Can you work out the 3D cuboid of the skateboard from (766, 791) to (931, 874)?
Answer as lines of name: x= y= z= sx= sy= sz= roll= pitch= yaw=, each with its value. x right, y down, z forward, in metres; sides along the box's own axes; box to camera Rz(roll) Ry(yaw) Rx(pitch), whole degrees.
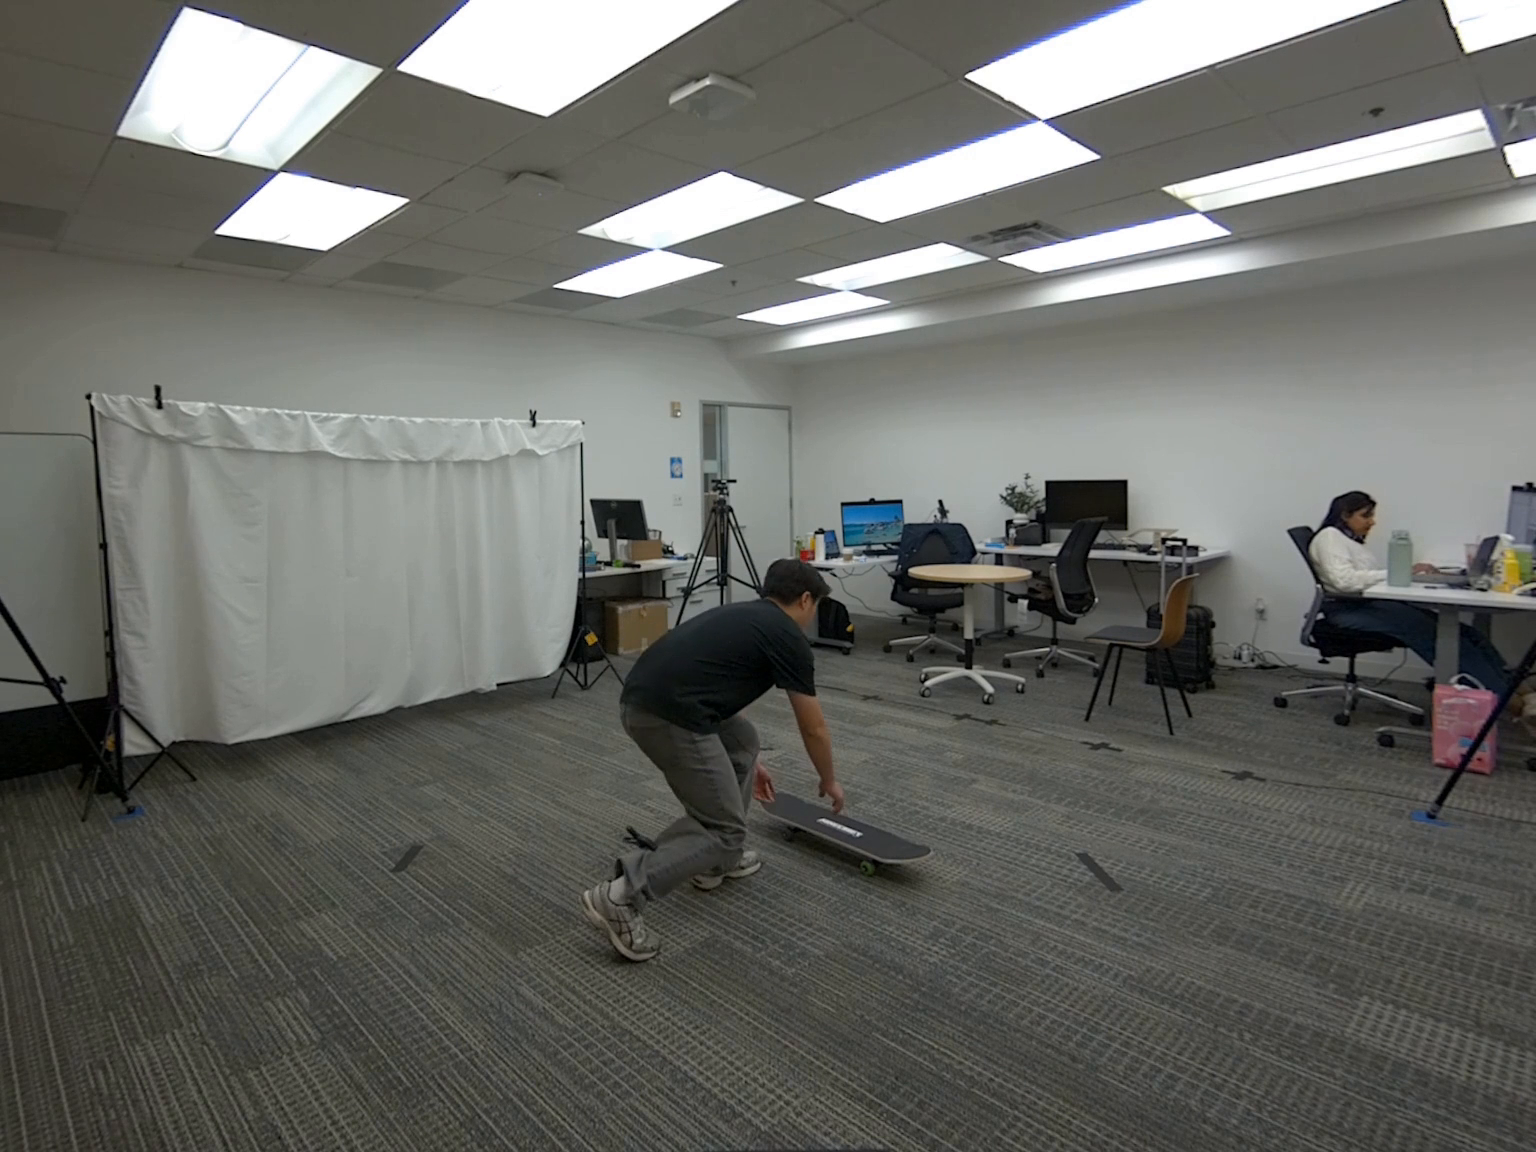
skateboard: x=0.269 y=0.975 z=3.199 sx=0.188 sy=0.110 sz=0.810 roll=-6 pitch=8 yaw=-42
